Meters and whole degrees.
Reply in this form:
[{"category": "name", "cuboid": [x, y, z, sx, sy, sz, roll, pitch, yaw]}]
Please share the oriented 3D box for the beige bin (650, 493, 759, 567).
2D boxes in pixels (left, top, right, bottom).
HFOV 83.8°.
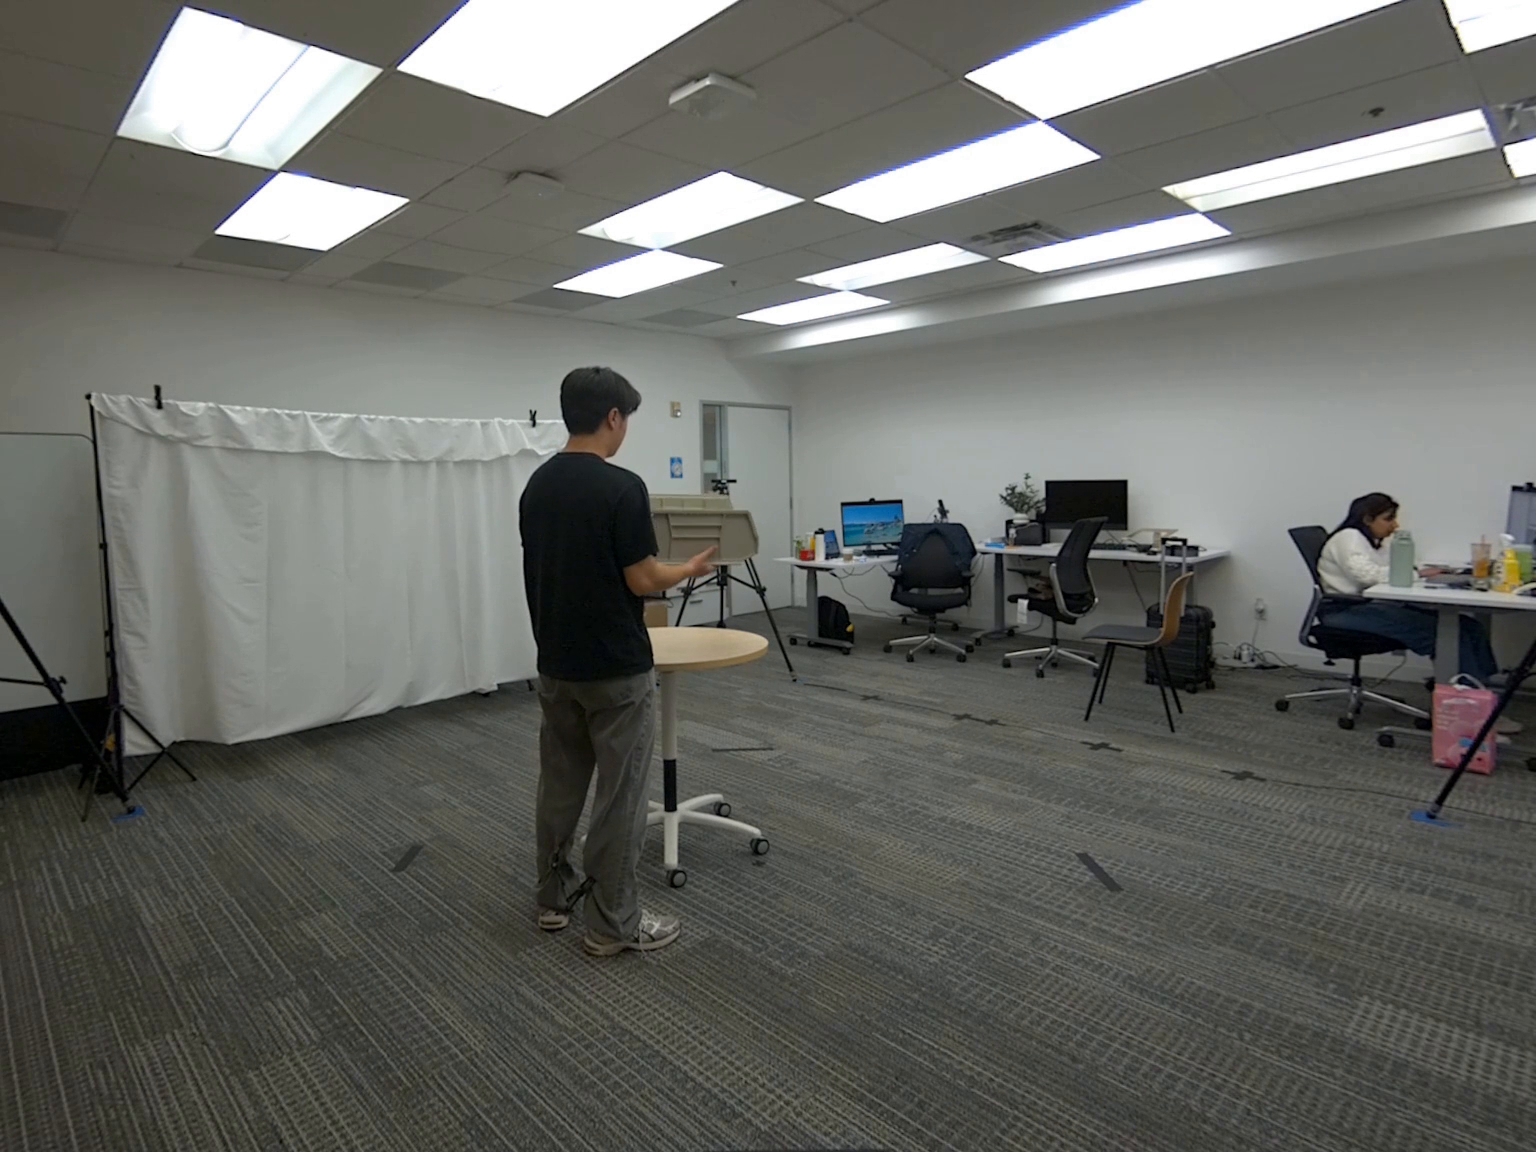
[{"category": "beige bin", "cuboid": [-0.254, -0.164, 2.905, 0.374, 0.187, 0.430, -1, 12, -11]}]
